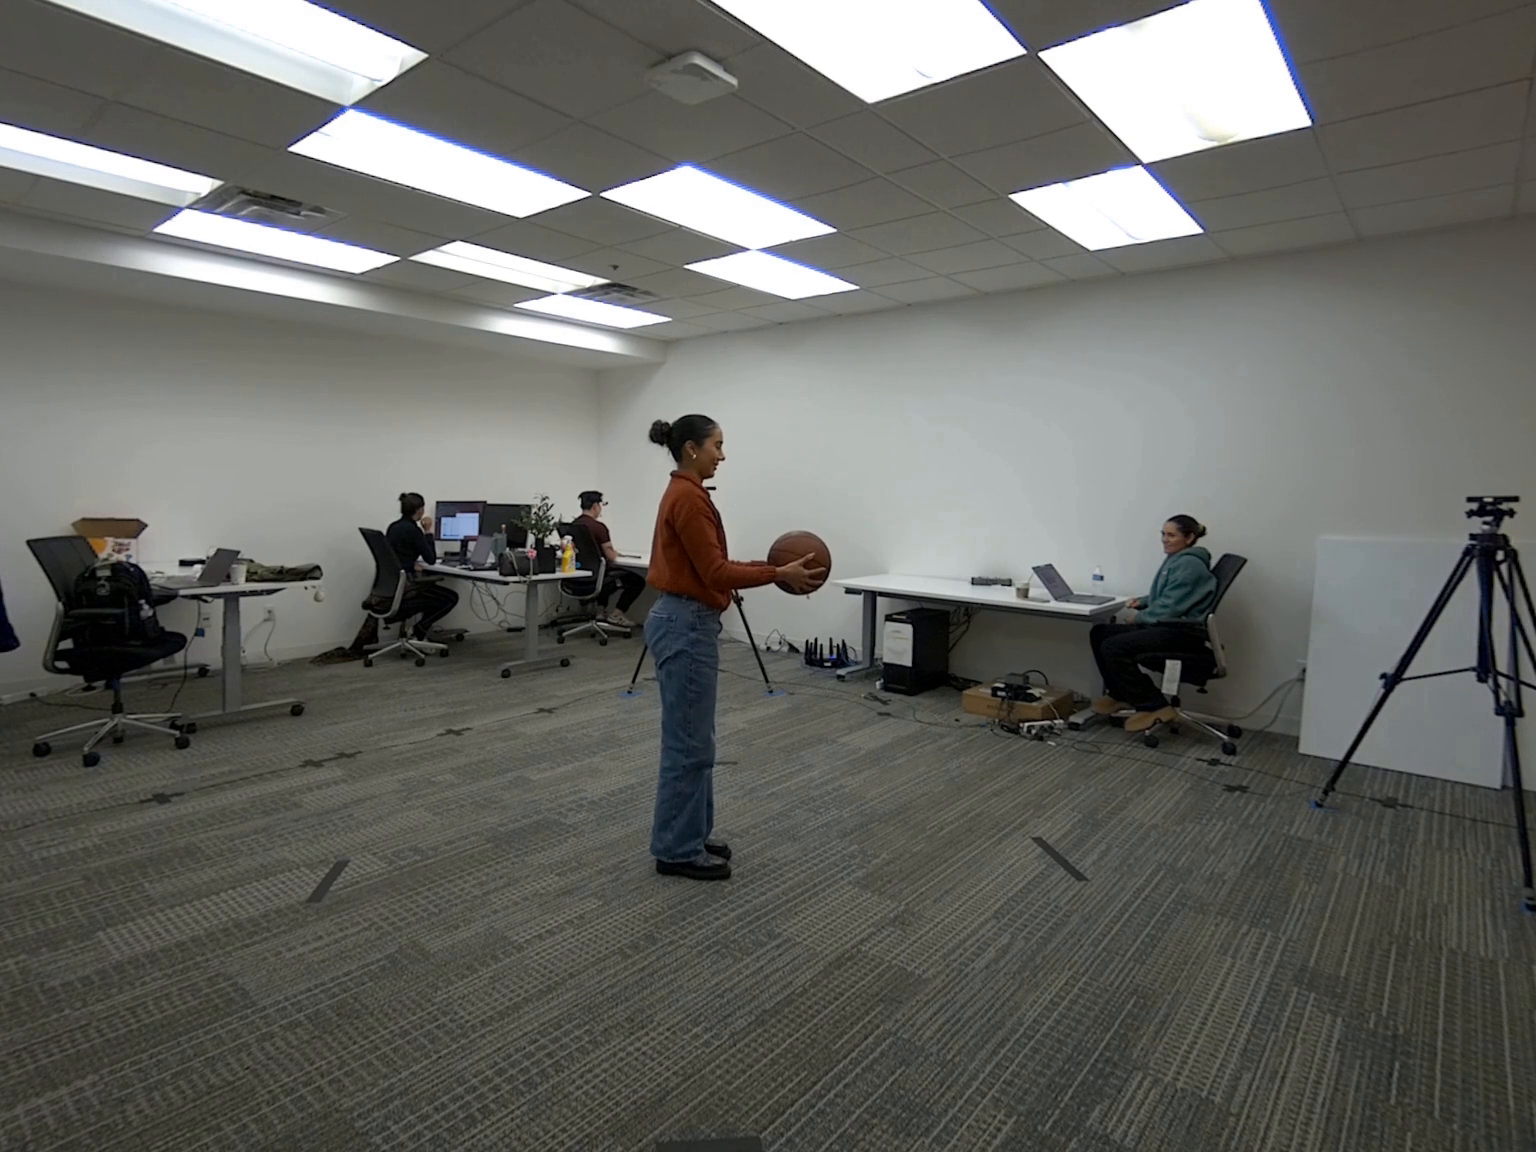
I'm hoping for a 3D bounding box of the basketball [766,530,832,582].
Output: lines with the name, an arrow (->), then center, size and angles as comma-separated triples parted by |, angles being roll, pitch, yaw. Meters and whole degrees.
basketball -> 0.104, -0.048, 3.106 | 0.236, 0.235, 0.237 | 1, 4, -2
